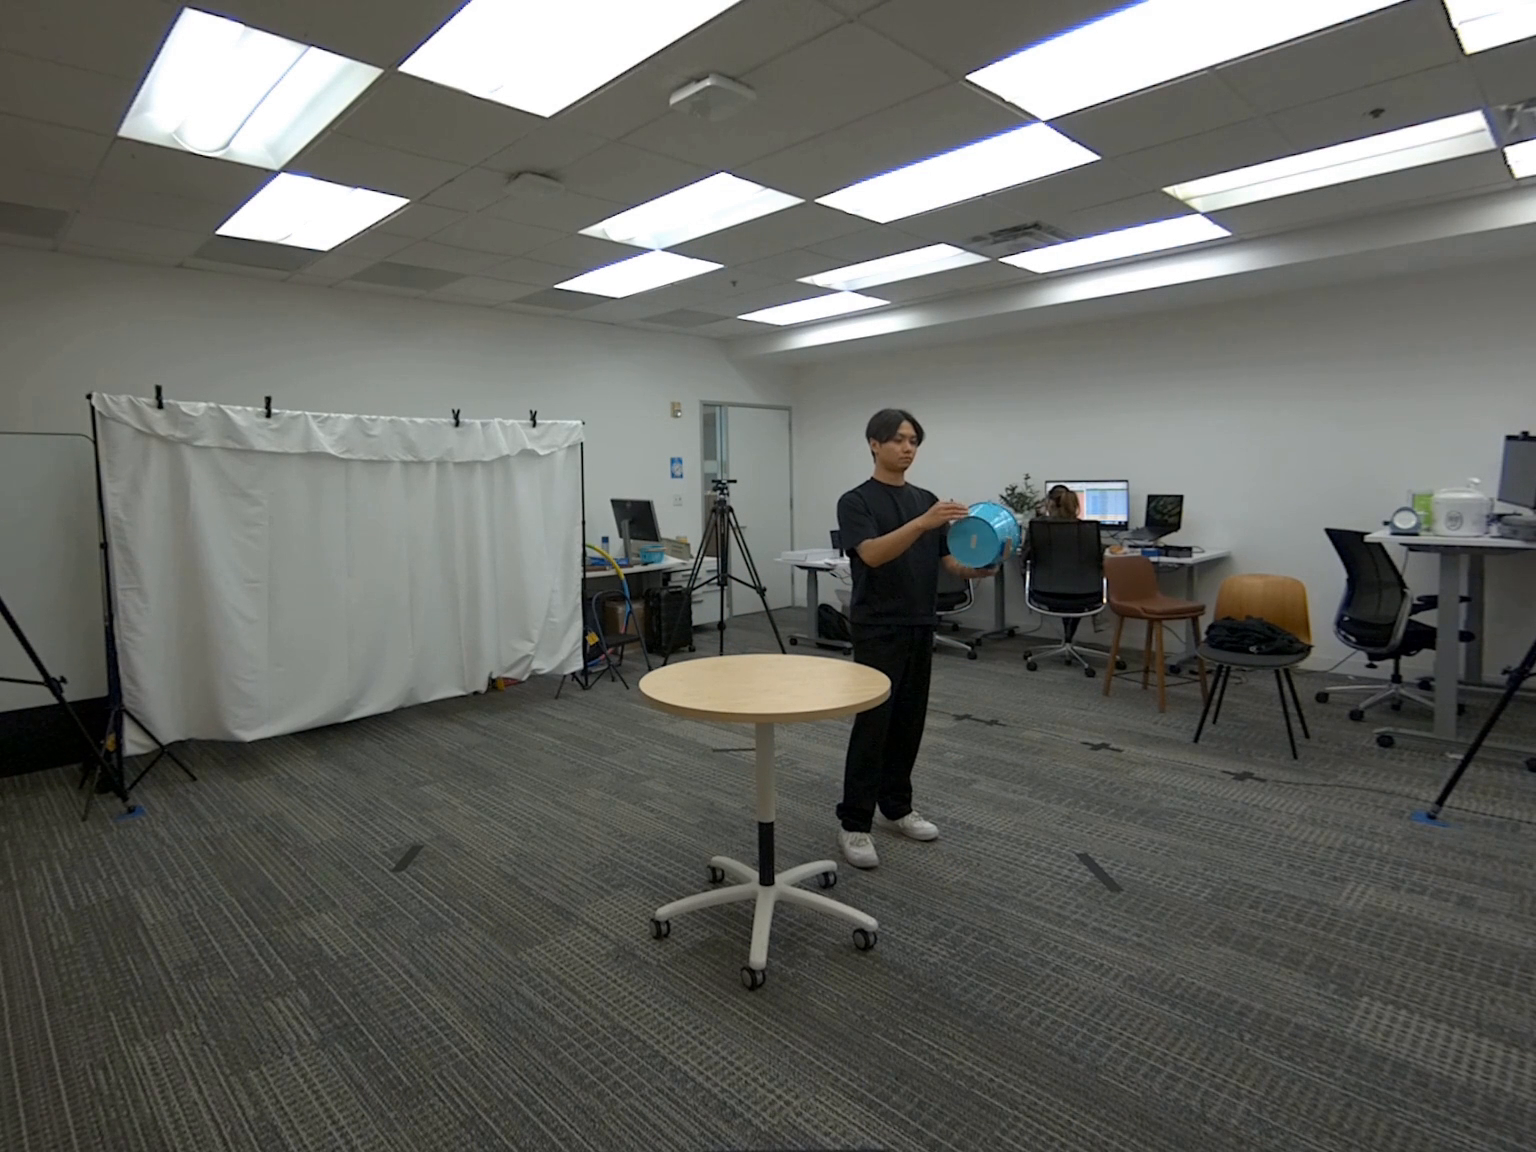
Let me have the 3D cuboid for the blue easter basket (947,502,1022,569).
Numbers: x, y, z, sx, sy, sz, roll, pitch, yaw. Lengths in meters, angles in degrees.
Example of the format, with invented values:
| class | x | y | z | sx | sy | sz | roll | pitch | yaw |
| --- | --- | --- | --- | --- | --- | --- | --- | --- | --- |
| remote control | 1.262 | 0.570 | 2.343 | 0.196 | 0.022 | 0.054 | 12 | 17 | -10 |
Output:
| class | x | y | z | sx | sy | sz | roll | pitch | yaw |
| --- | --- | --- | --- | --- | --- | --- | --- | --- | --- |
| blue easter basket | 0.748 | -0.132 | 2.988 | 0.250 | 0.241 | 0.153 | 2 | 13 | 34 |
